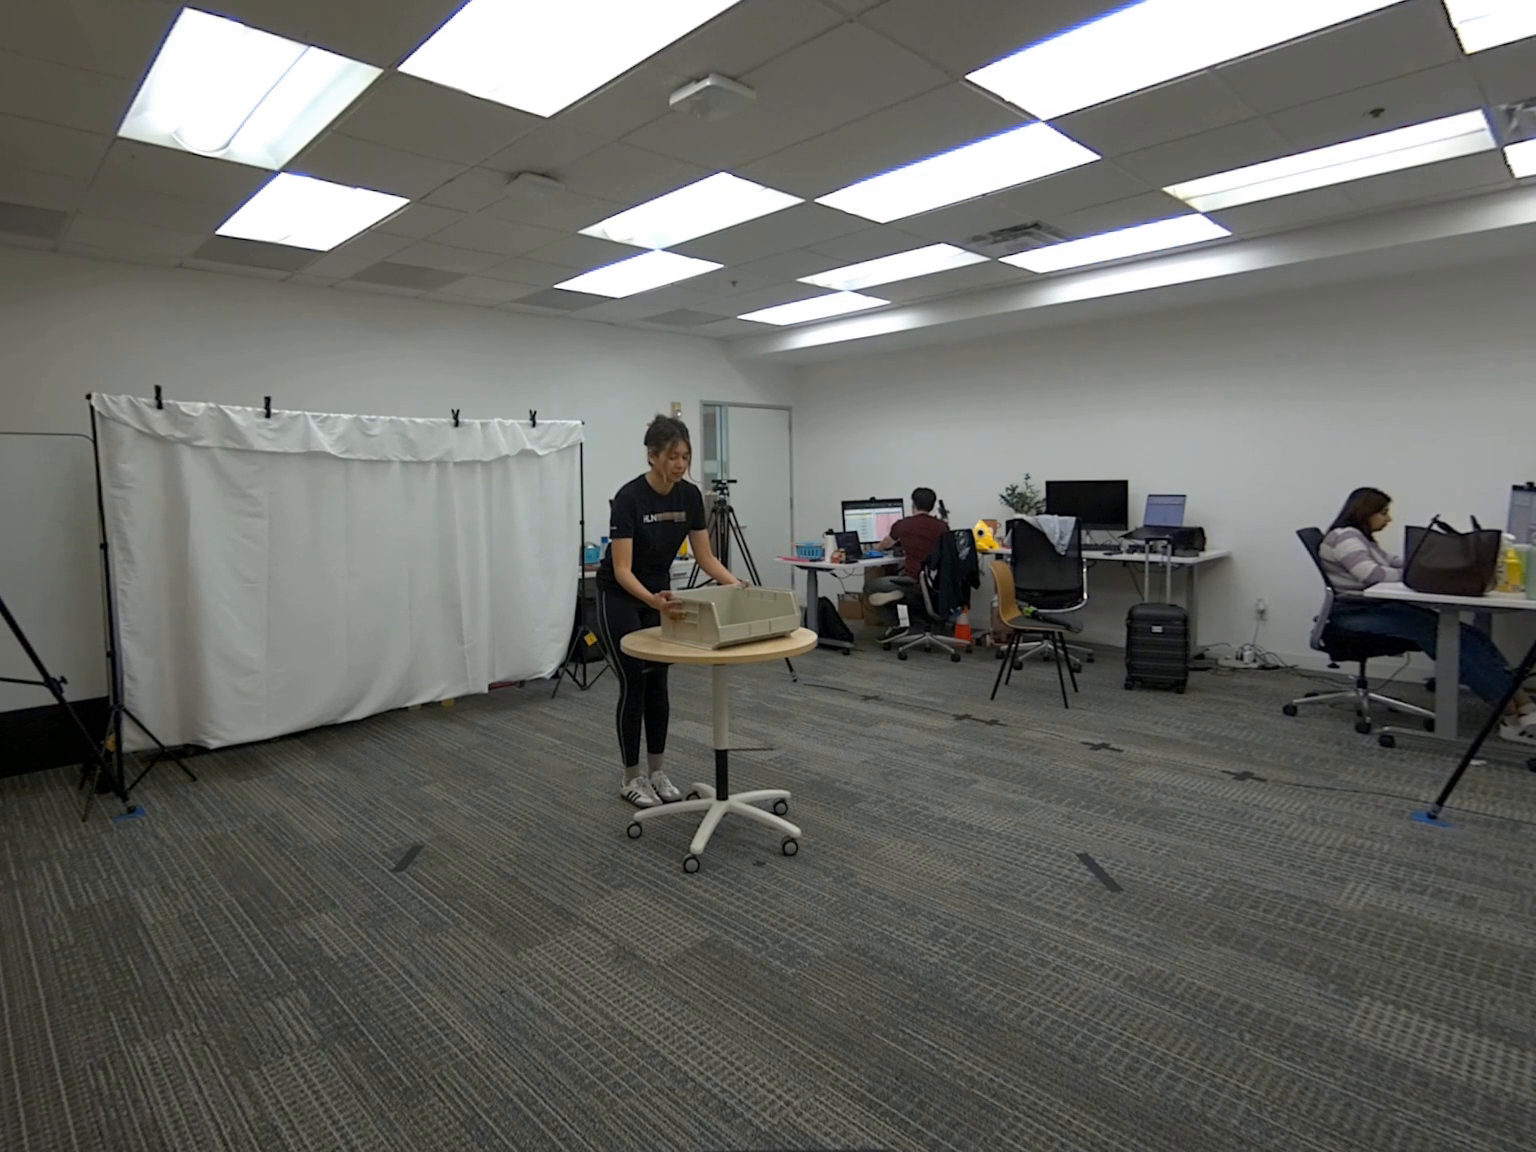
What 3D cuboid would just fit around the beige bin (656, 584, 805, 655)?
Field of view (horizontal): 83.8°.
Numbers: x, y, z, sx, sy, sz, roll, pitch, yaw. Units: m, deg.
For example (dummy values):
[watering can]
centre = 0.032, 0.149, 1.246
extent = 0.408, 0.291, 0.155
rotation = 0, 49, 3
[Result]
[beige bin]
centre = -0.148, 0.154, 3.286
extent = 0.411, 0.188, 0.389
rotation = -7, 7, -42
